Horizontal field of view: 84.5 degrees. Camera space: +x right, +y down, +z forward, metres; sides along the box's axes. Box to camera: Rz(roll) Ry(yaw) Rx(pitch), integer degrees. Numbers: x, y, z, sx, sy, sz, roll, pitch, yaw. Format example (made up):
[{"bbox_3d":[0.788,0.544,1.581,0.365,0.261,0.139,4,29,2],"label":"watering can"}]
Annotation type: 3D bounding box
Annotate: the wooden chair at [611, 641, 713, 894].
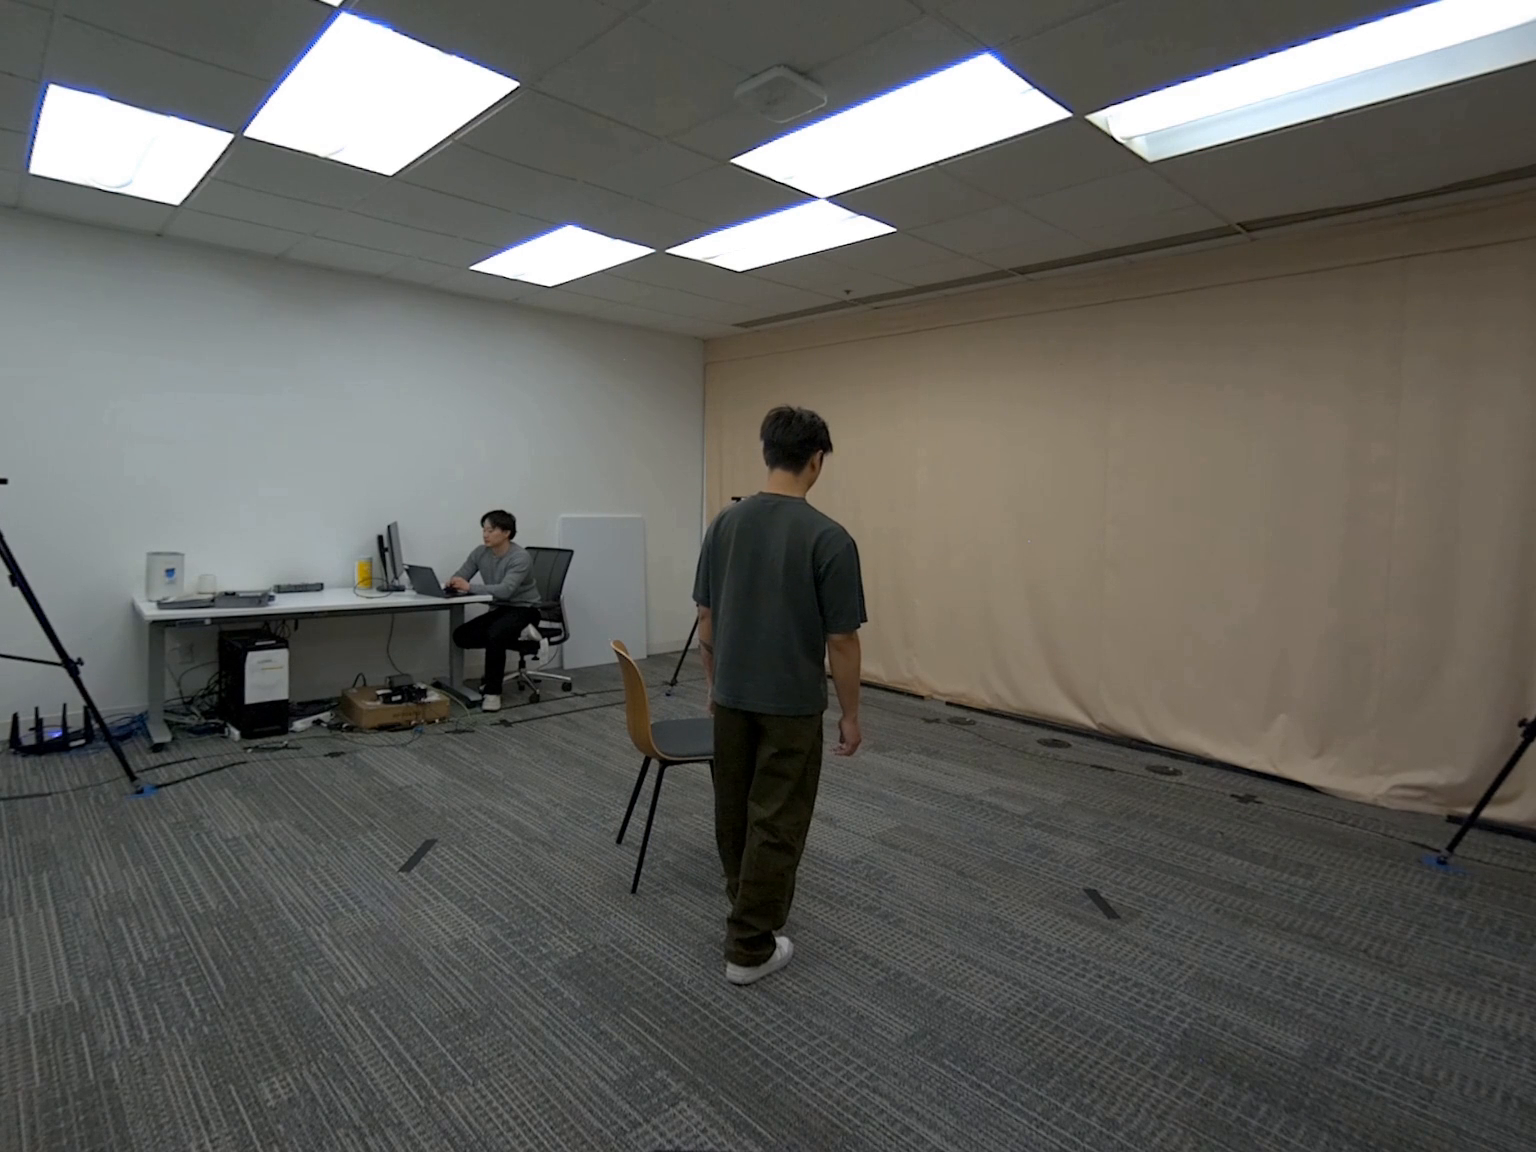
[{"bbox_3d":[-0.314,0.666,3.186,0.517,0.874,0.485,-4,5,-16],"label":"wooden chair"}]
